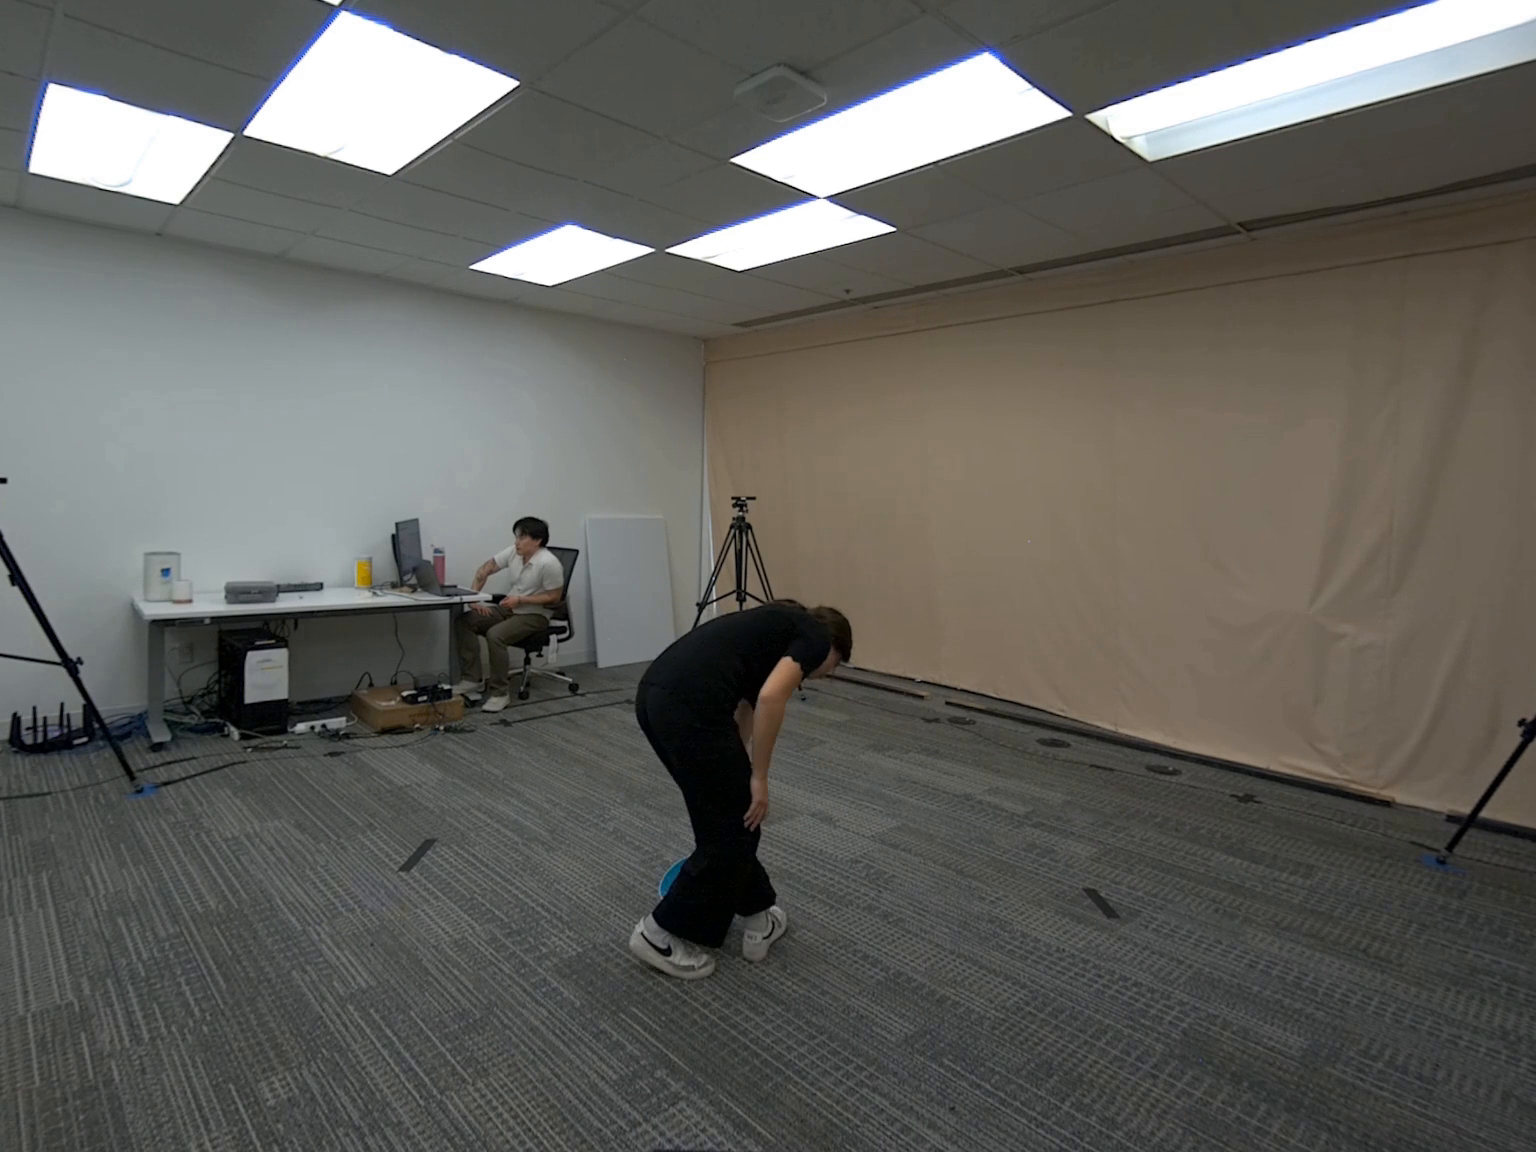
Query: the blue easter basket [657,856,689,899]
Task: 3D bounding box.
[{"bbox_3d":[-0.222,1.039,2.705,0.244,0.153,0.247,-17,20,5],"label":"blue easter basket"}]
